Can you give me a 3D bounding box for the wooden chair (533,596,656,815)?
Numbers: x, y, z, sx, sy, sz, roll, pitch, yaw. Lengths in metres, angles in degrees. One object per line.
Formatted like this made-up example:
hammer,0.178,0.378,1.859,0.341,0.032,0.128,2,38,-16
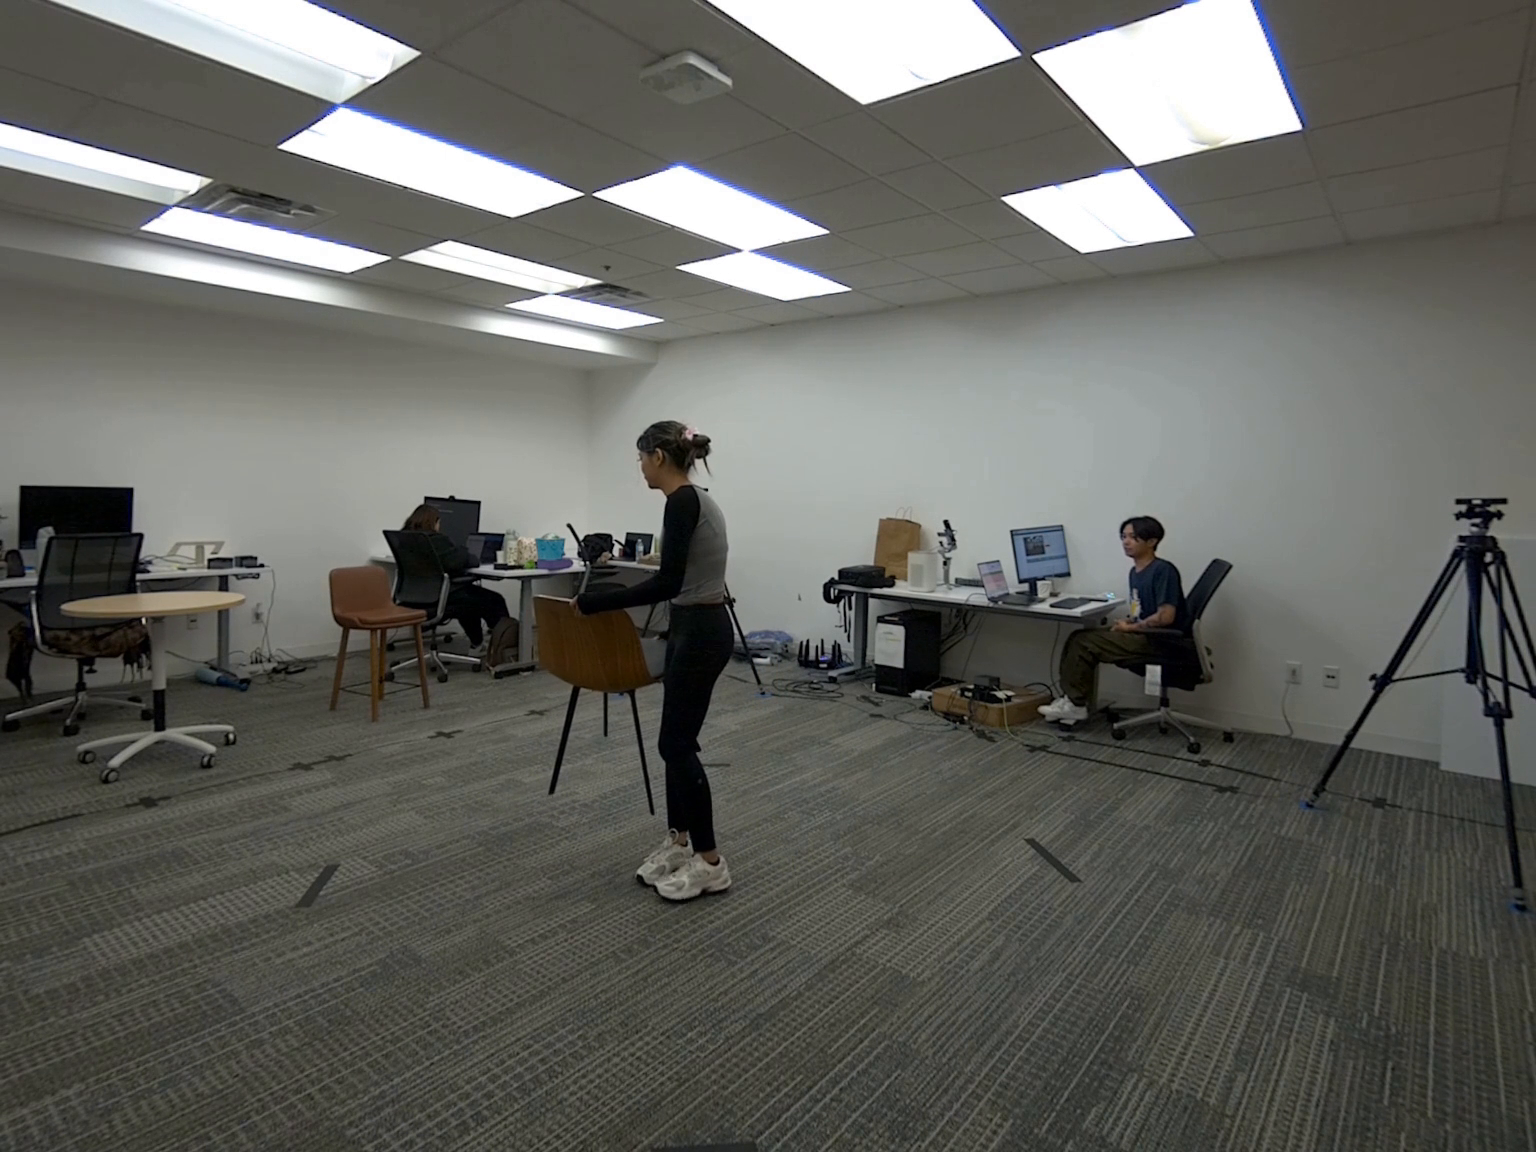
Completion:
wooden chair,-0.594,0.378,3.265,0.489,0.859,0.522,4,23,20
